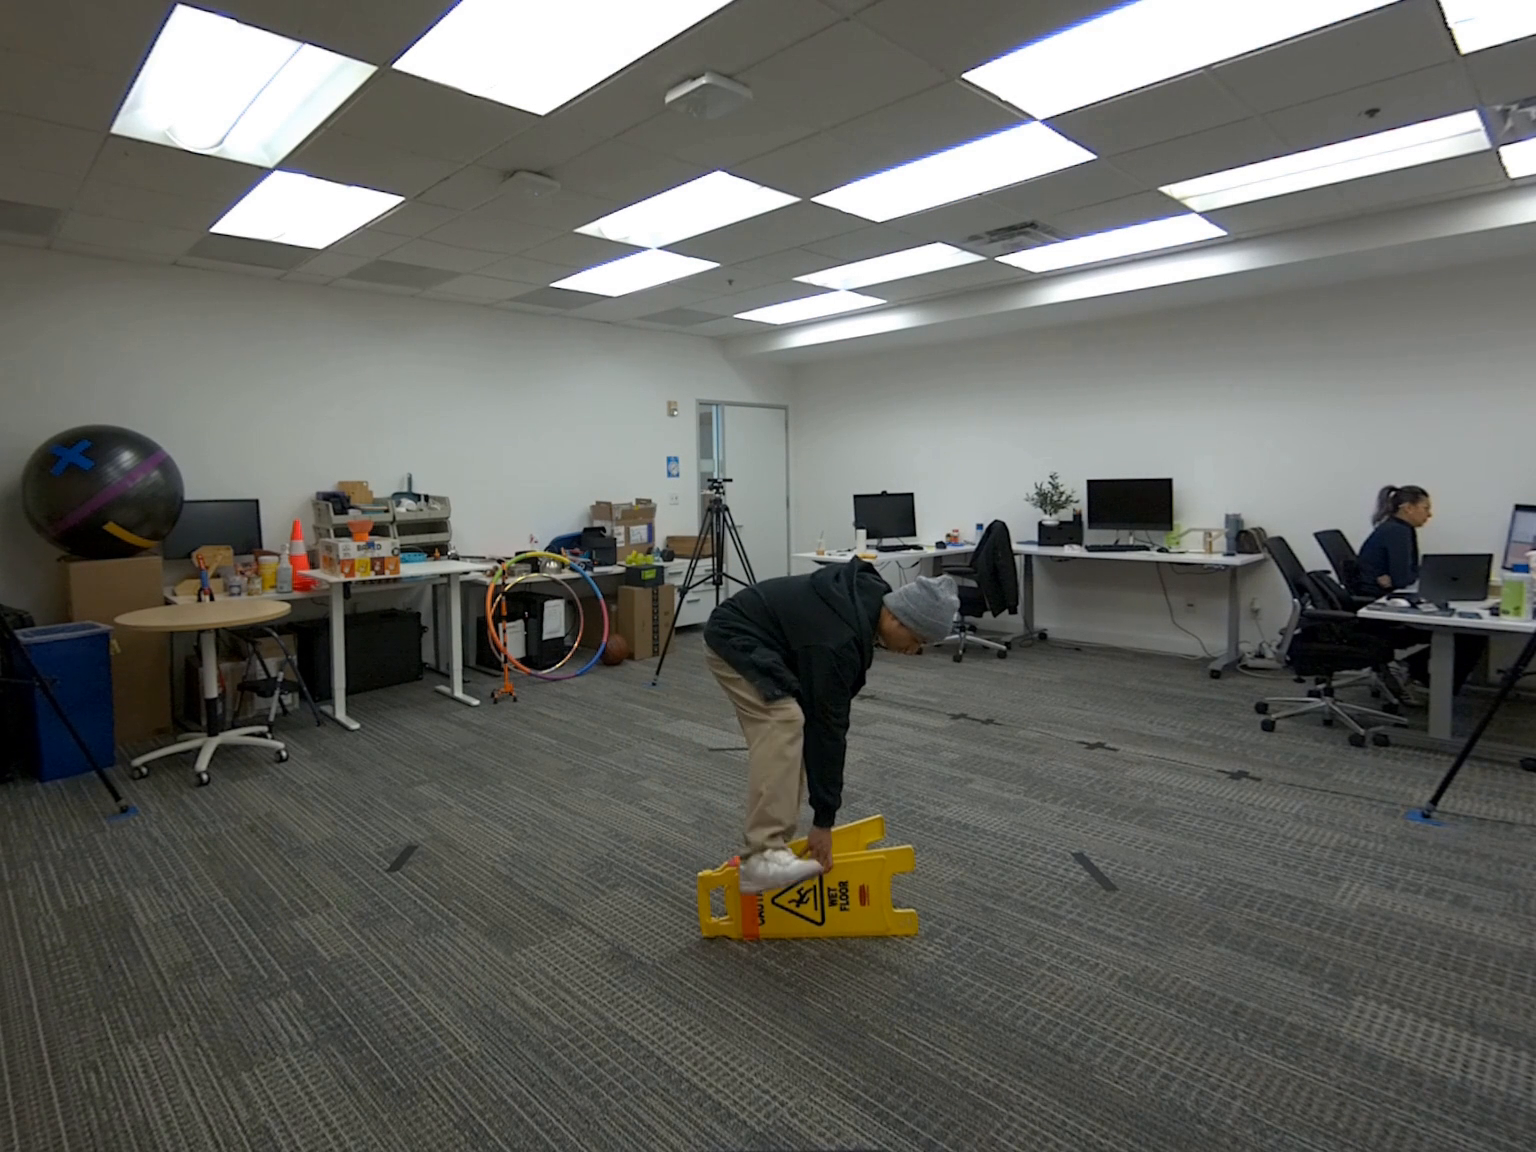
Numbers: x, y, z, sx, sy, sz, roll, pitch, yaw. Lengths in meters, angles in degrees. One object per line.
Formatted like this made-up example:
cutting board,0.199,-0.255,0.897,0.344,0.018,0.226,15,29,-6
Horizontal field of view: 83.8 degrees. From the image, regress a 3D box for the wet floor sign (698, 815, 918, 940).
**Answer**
wet floor sign,0.114,0.969,2.643,0.640,0.281,0.294,-5,6,-11
